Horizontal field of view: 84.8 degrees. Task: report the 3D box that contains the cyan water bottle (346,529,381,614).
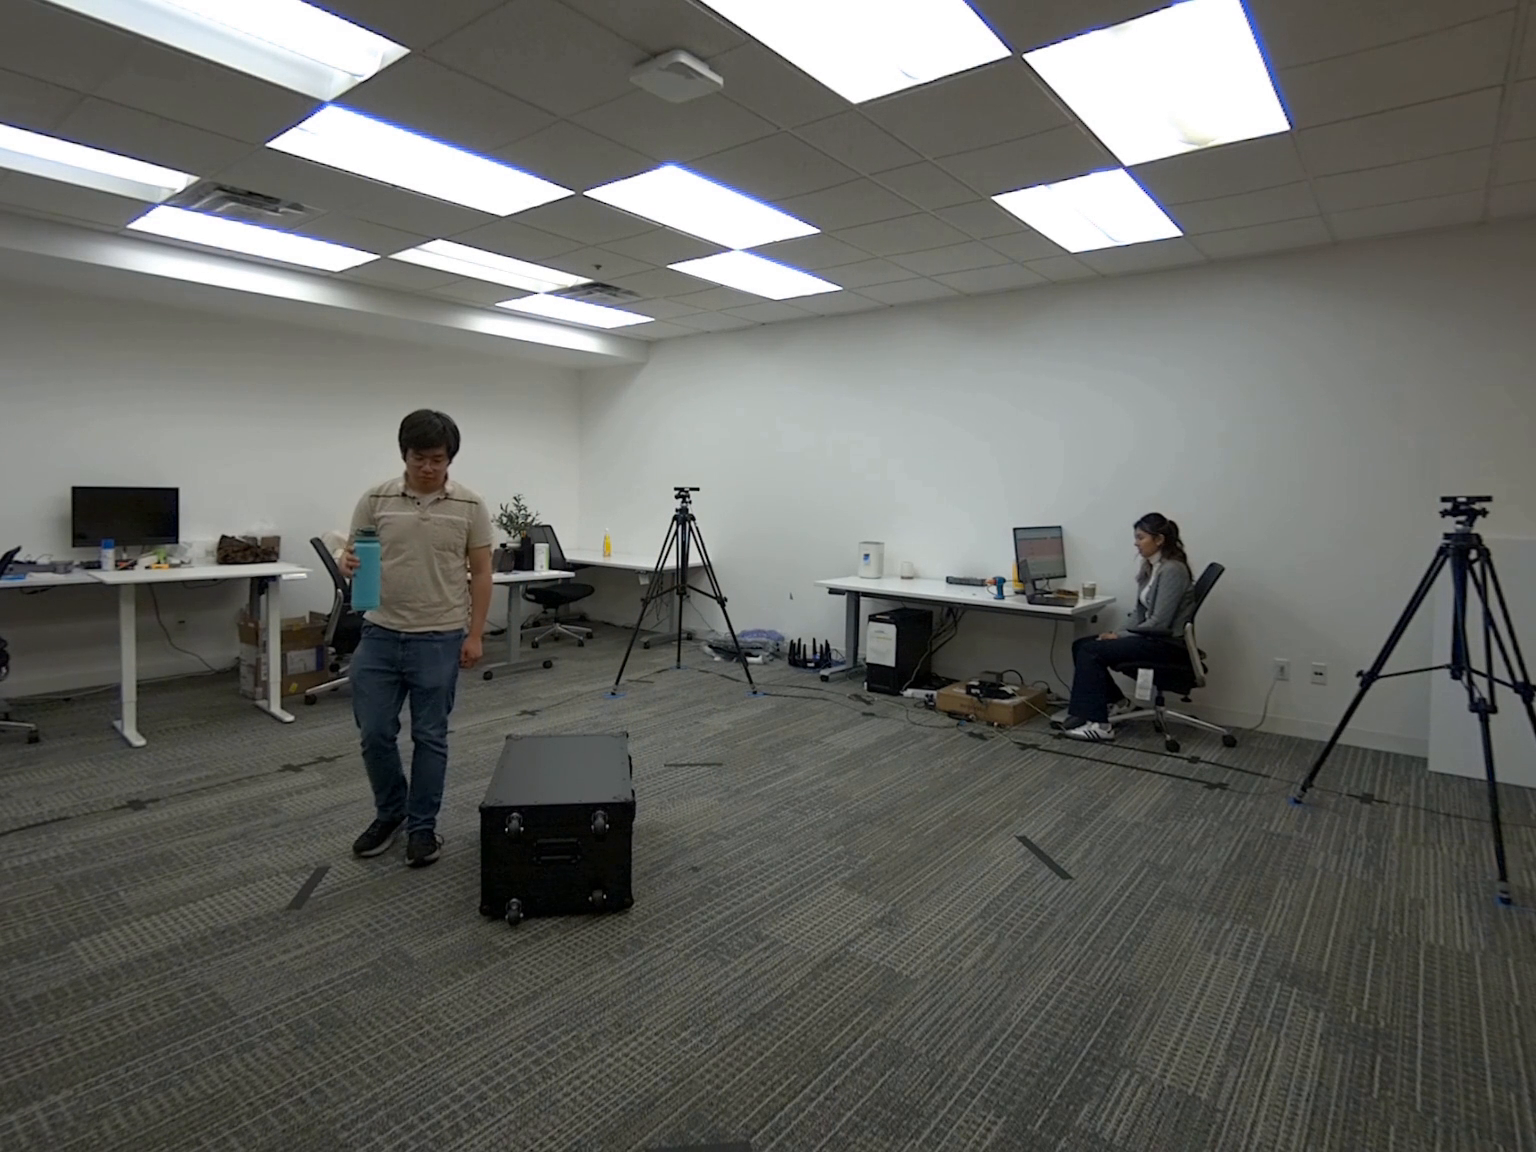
[{"bbox_3d":[-1.402,-0.030,2.893,0.092,0.282,0.093,4,3,-2],"label":"cyan water bottle"}]
